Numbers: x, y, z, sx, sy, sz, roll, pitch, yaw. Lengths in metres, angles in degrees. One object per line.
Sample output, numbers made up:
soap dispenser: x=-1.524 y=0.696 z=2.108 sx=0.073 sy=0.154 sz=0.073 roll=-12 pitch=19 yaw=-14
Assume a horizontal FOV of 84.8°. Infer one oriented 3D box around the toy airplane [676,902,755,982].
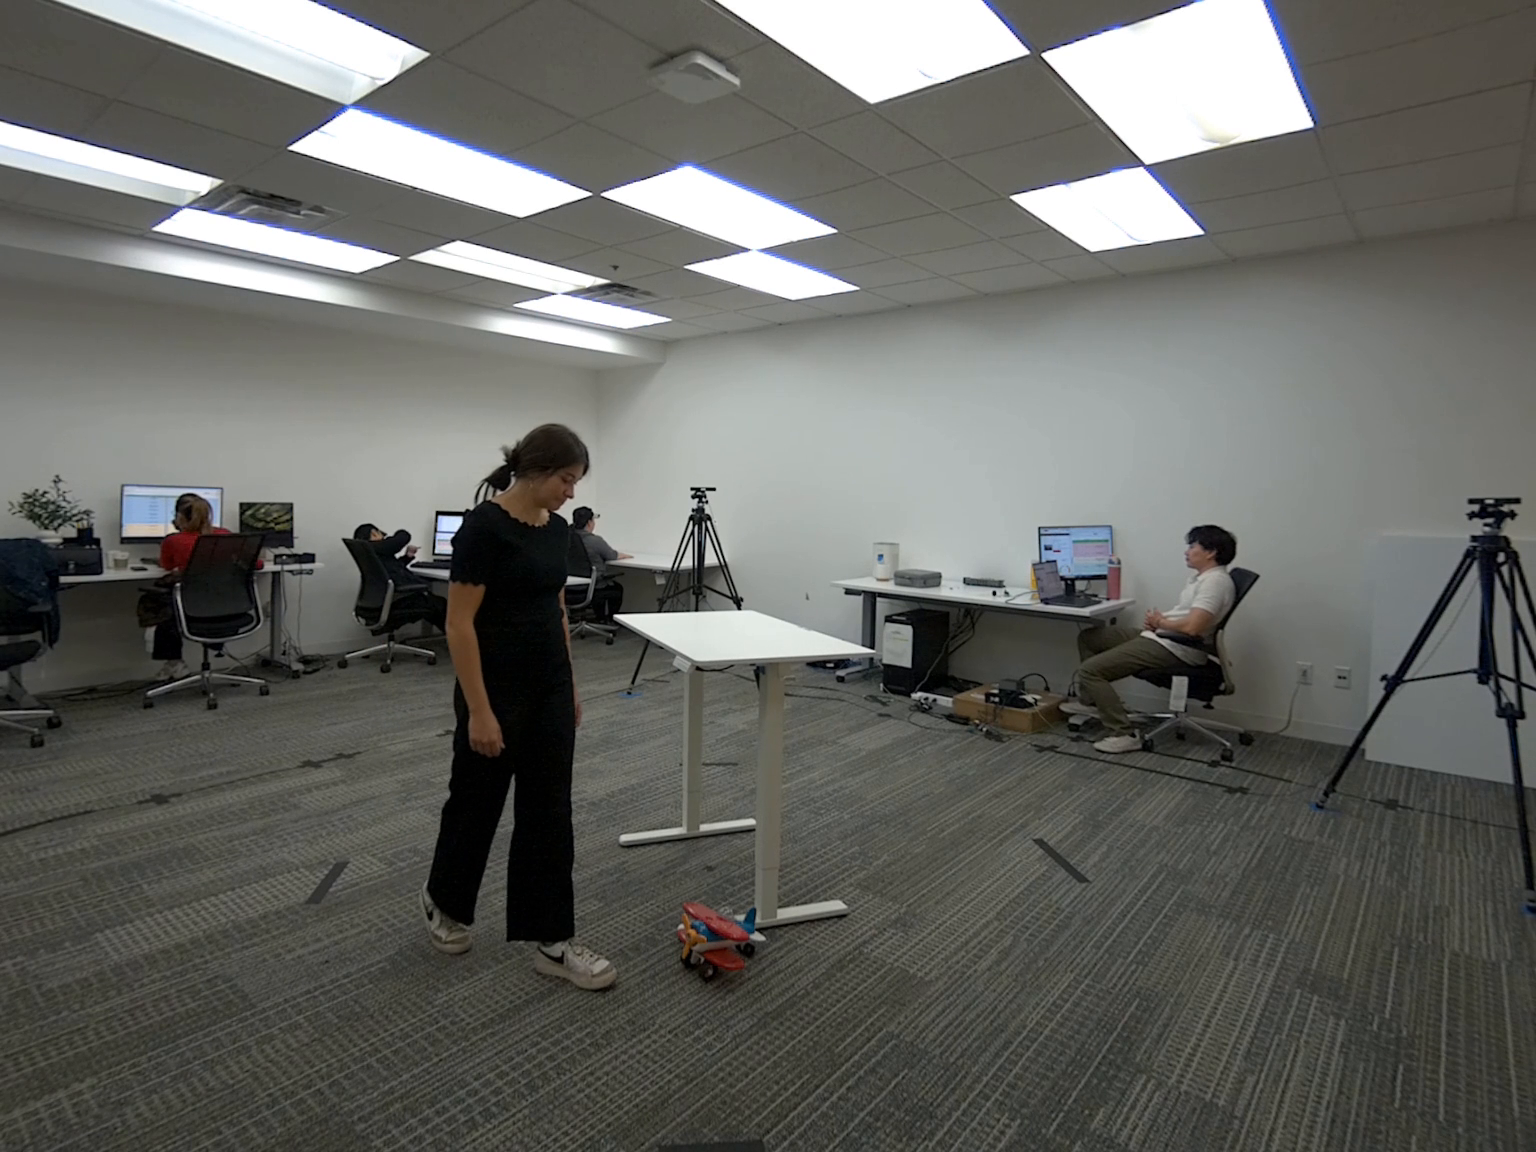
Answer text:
toy airplane: x=-0.154 y=1.058 z=2.504 sx=0.257 sy=0.155 sz=0.255 roll=3 pitch=7 yaw=20
